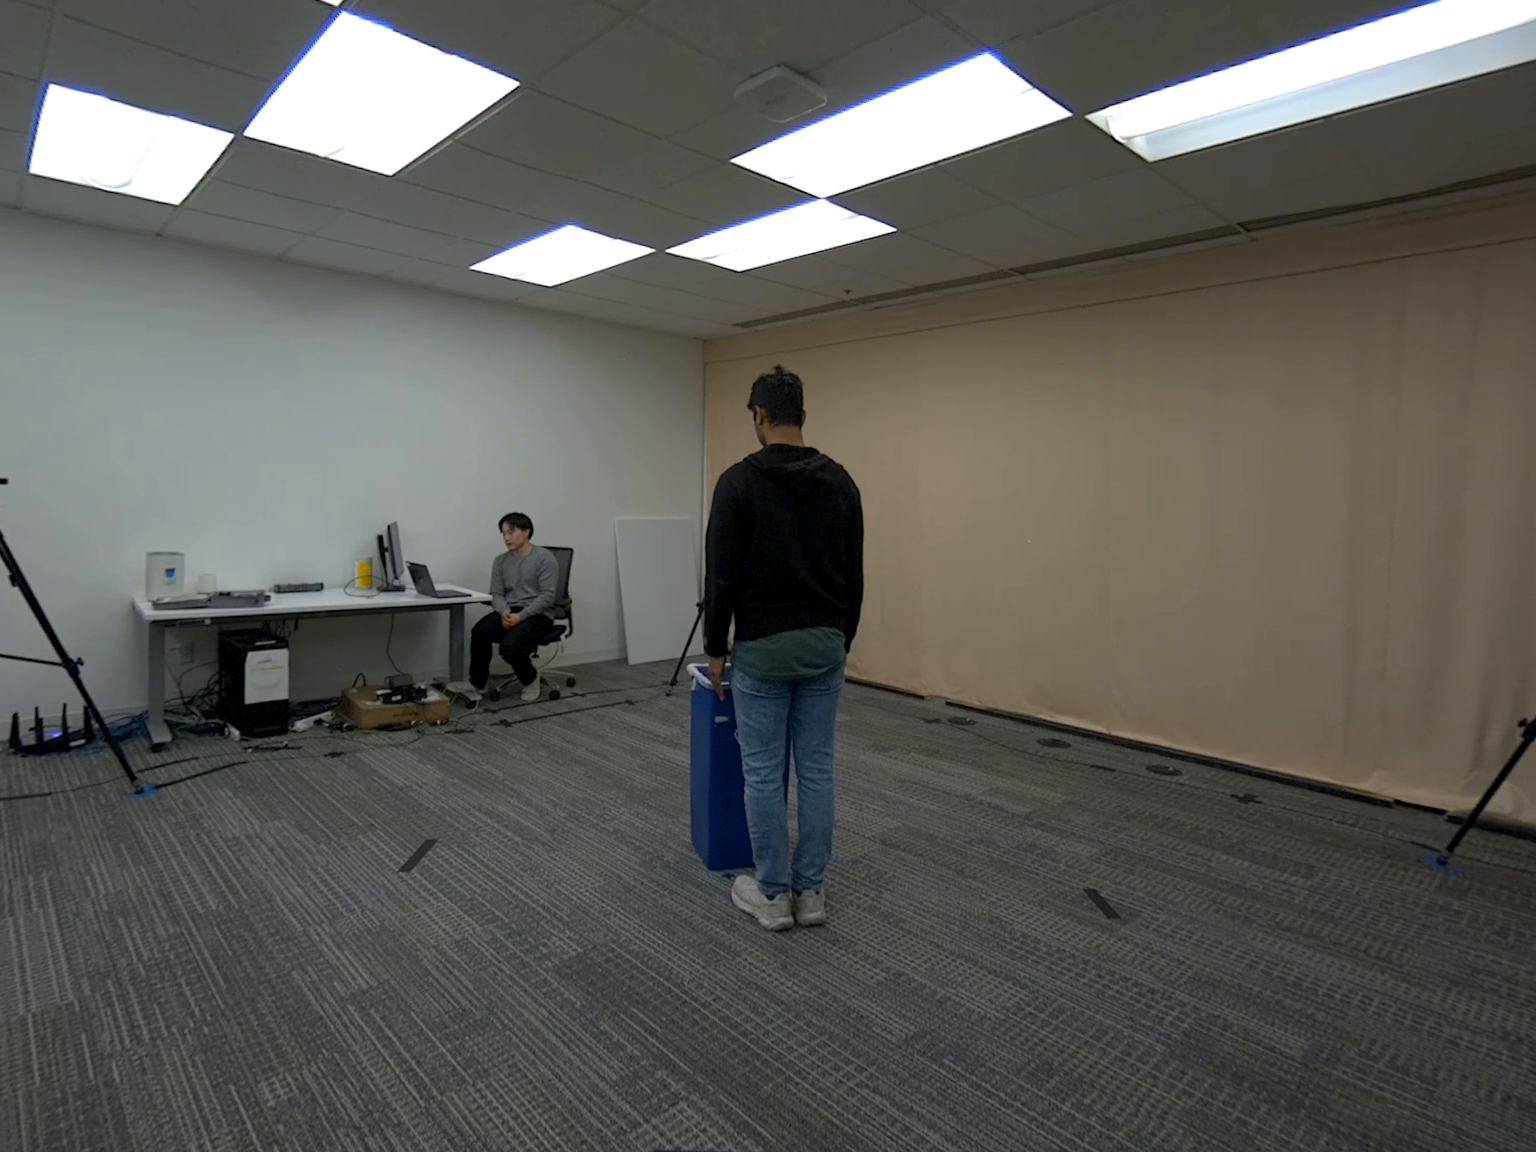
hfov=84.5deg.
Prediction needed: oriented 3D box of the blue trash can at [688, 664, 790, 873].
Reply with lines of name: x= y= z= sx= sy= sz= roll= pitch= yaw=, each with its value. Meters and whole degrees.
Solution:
blue trash can: x=-0.117 y=0.730 z=3.306 sx=0.369 sy=0.711 sz=0.384 roll=0 pitch=4 yaw=-18
